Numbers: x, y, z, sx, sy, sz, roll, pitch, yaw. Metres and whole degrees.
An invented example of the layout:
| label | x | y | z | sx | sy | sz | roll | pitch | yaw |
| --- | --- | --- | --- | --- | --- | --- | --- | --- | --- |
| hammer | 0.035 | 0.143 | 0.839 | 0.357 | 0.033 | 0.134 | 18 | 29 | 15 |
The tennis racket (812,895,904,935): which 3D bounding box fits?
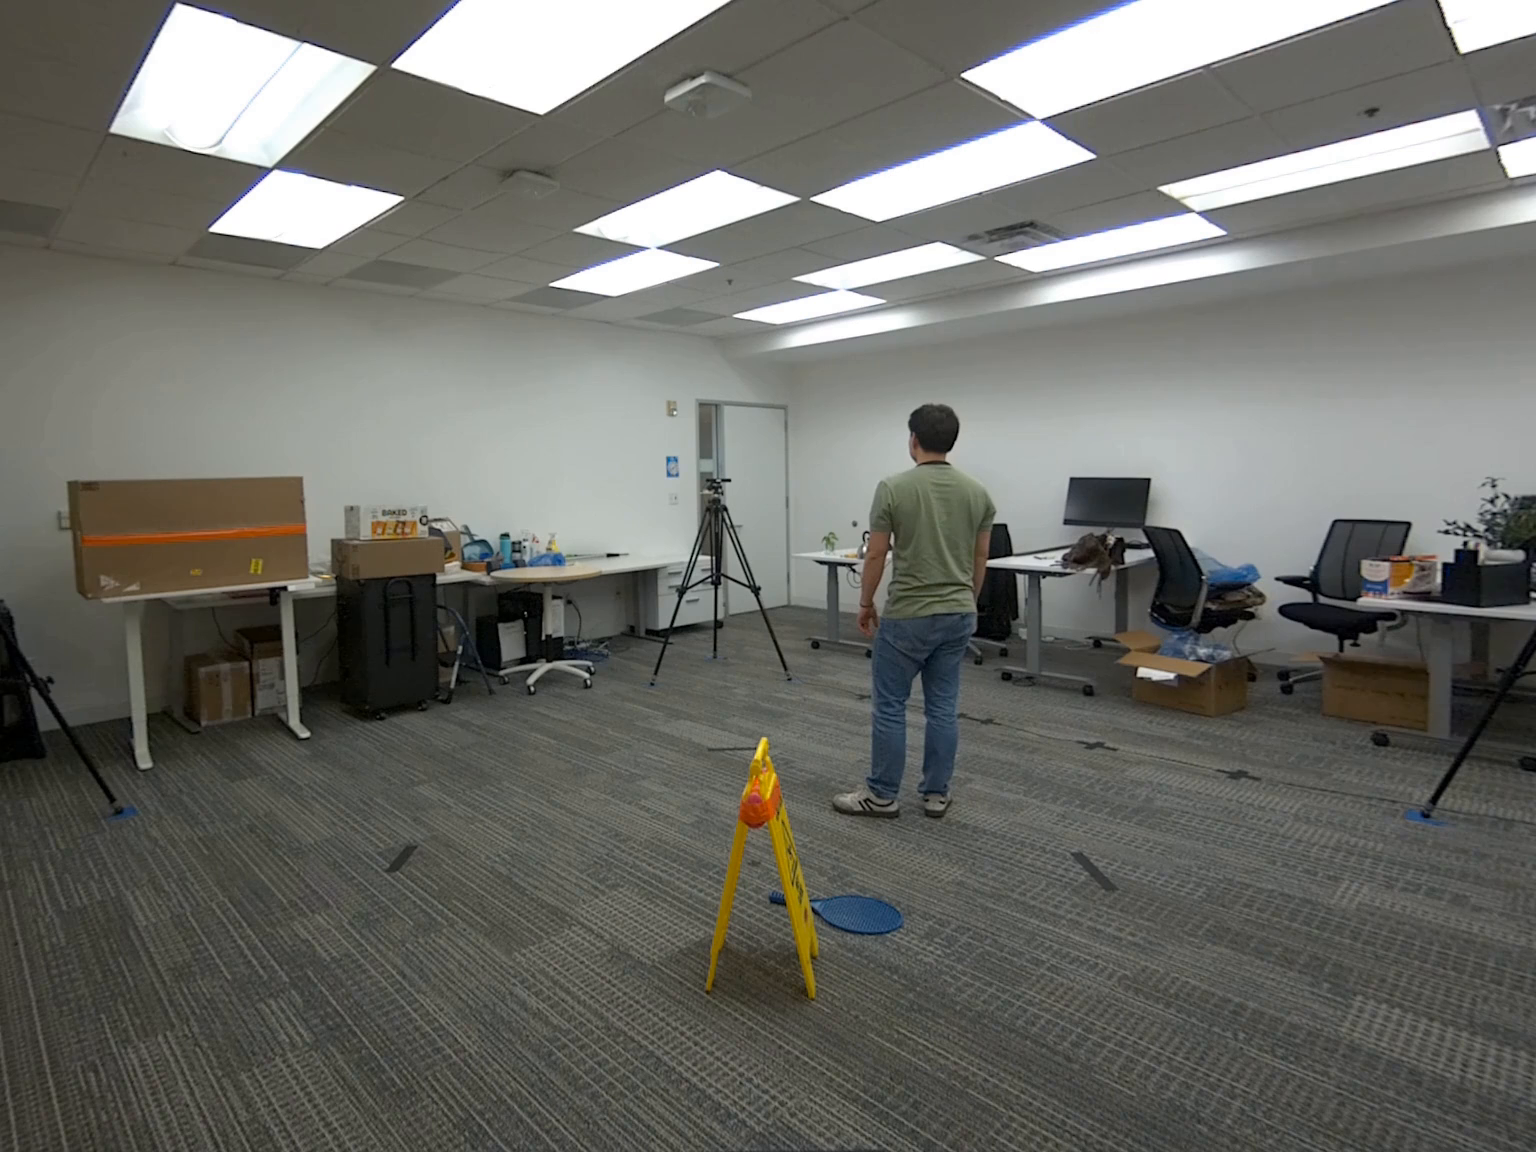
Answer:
| label | x | y | z | sx | sy | sz | roll | pitch | yaw |
| --- | --- | --- | --- | --- | --- | --- | --- | --- | --- |
| tennis racket | 0.218 | 1.070 | 2.741 | 0.441 | 0.031 | 0.211 | 3 | 7 | 19 |
